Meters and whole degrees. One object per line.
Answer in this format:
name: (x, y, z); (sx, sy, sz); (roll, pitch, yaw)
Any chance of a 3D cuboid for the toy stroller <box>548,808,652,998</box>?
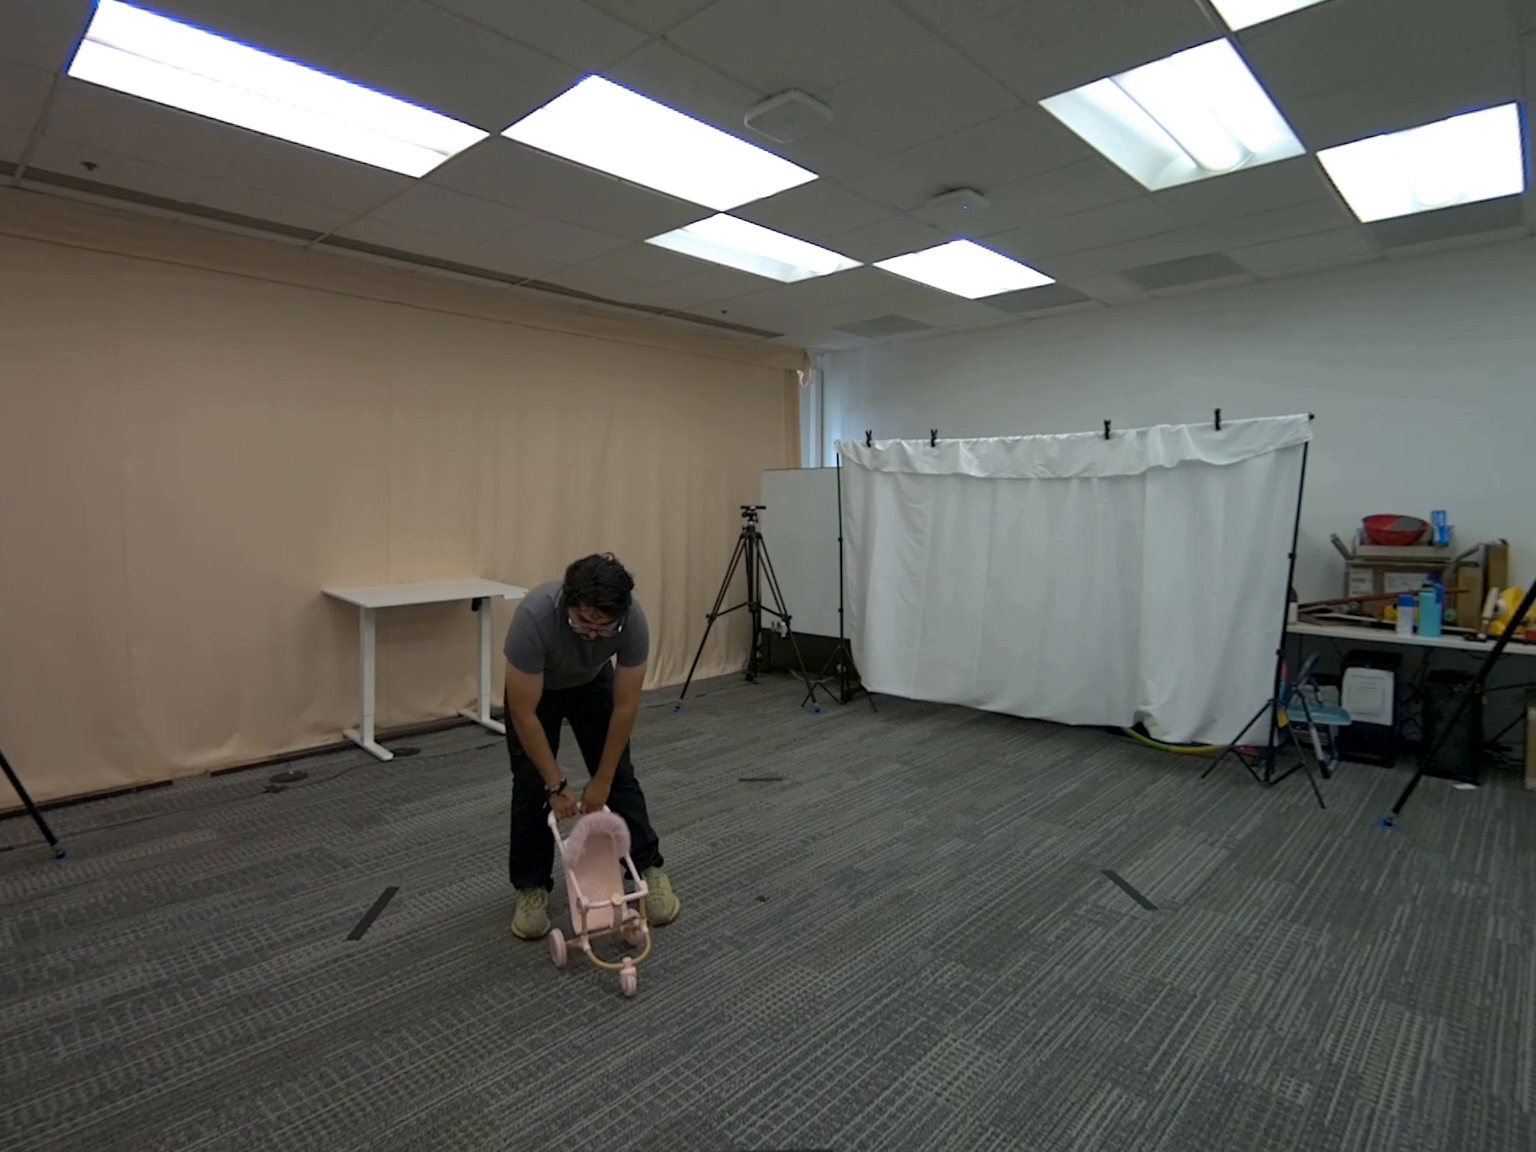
toy stroller: (-0.498, 0.960, 2.543); (0.274, 0.539, 0.347); (-2, -11, -28)
